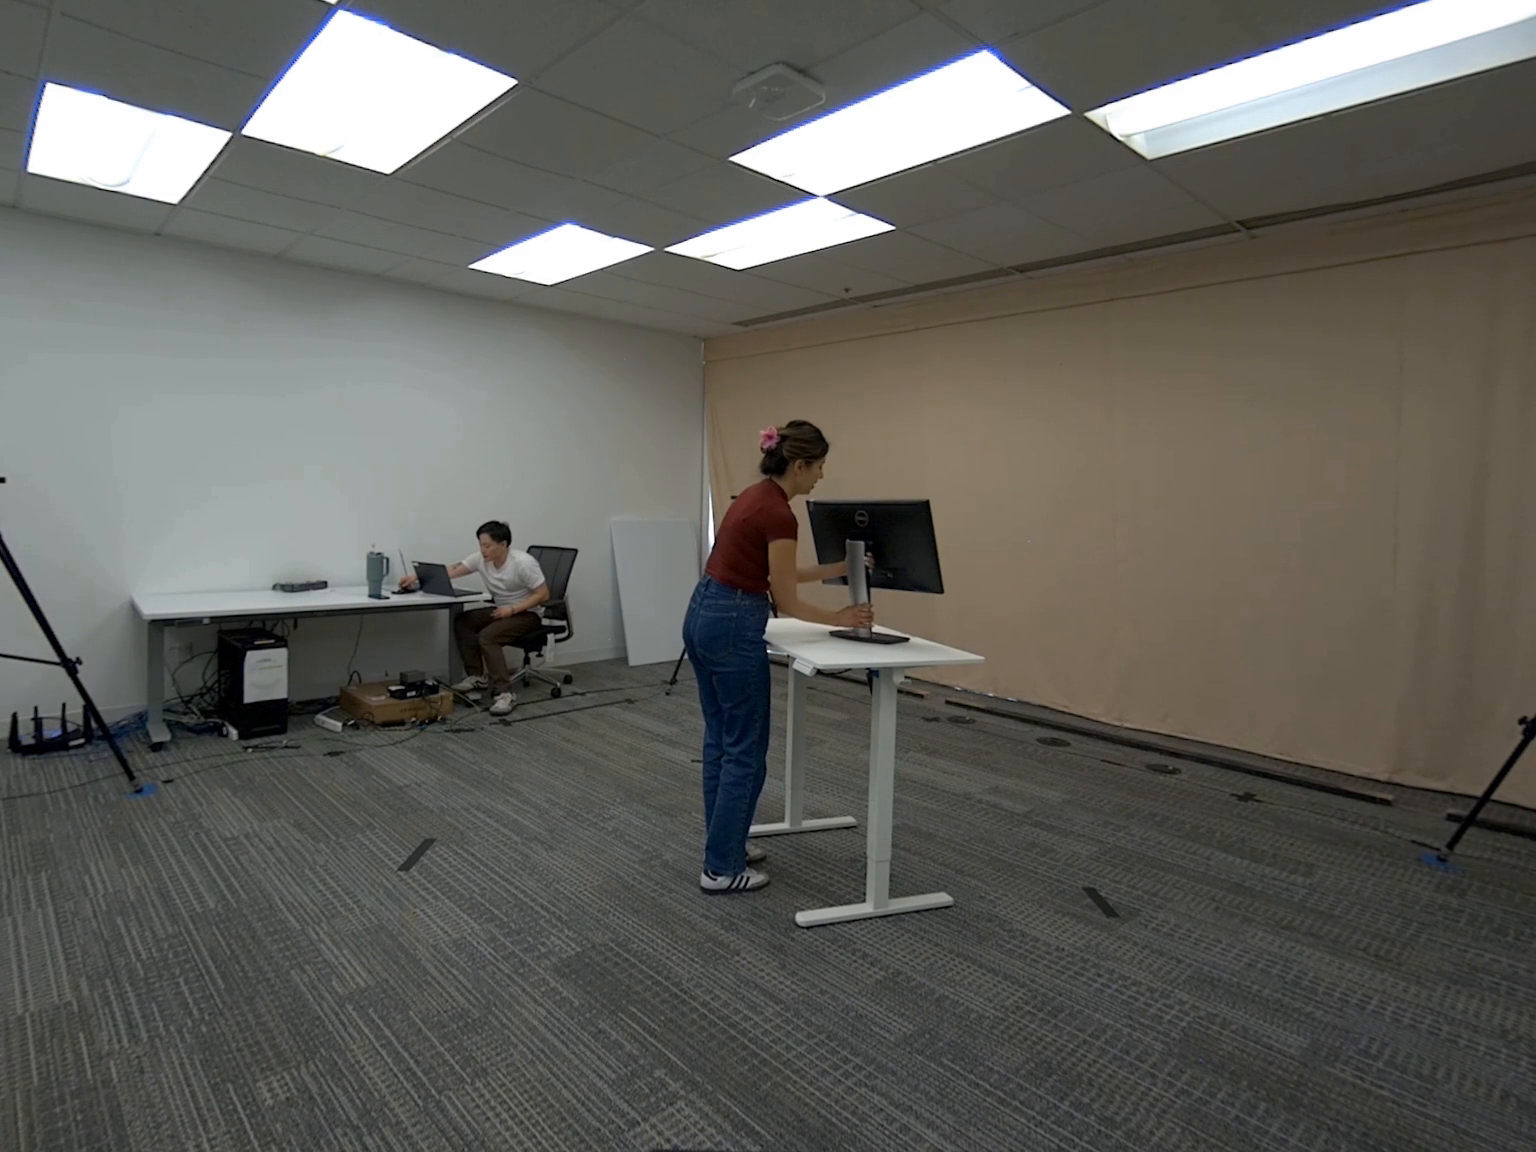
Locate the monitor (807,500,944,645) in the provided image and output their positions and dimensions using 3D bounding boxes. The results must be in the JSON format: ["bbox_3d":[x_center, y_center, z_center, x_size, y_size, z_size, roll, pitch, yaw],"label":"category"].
[{"bbox_3d":[0.361,-0.022,3.111,0.552,0.520,0.183,3,7,40],"label":"monitor"}]
